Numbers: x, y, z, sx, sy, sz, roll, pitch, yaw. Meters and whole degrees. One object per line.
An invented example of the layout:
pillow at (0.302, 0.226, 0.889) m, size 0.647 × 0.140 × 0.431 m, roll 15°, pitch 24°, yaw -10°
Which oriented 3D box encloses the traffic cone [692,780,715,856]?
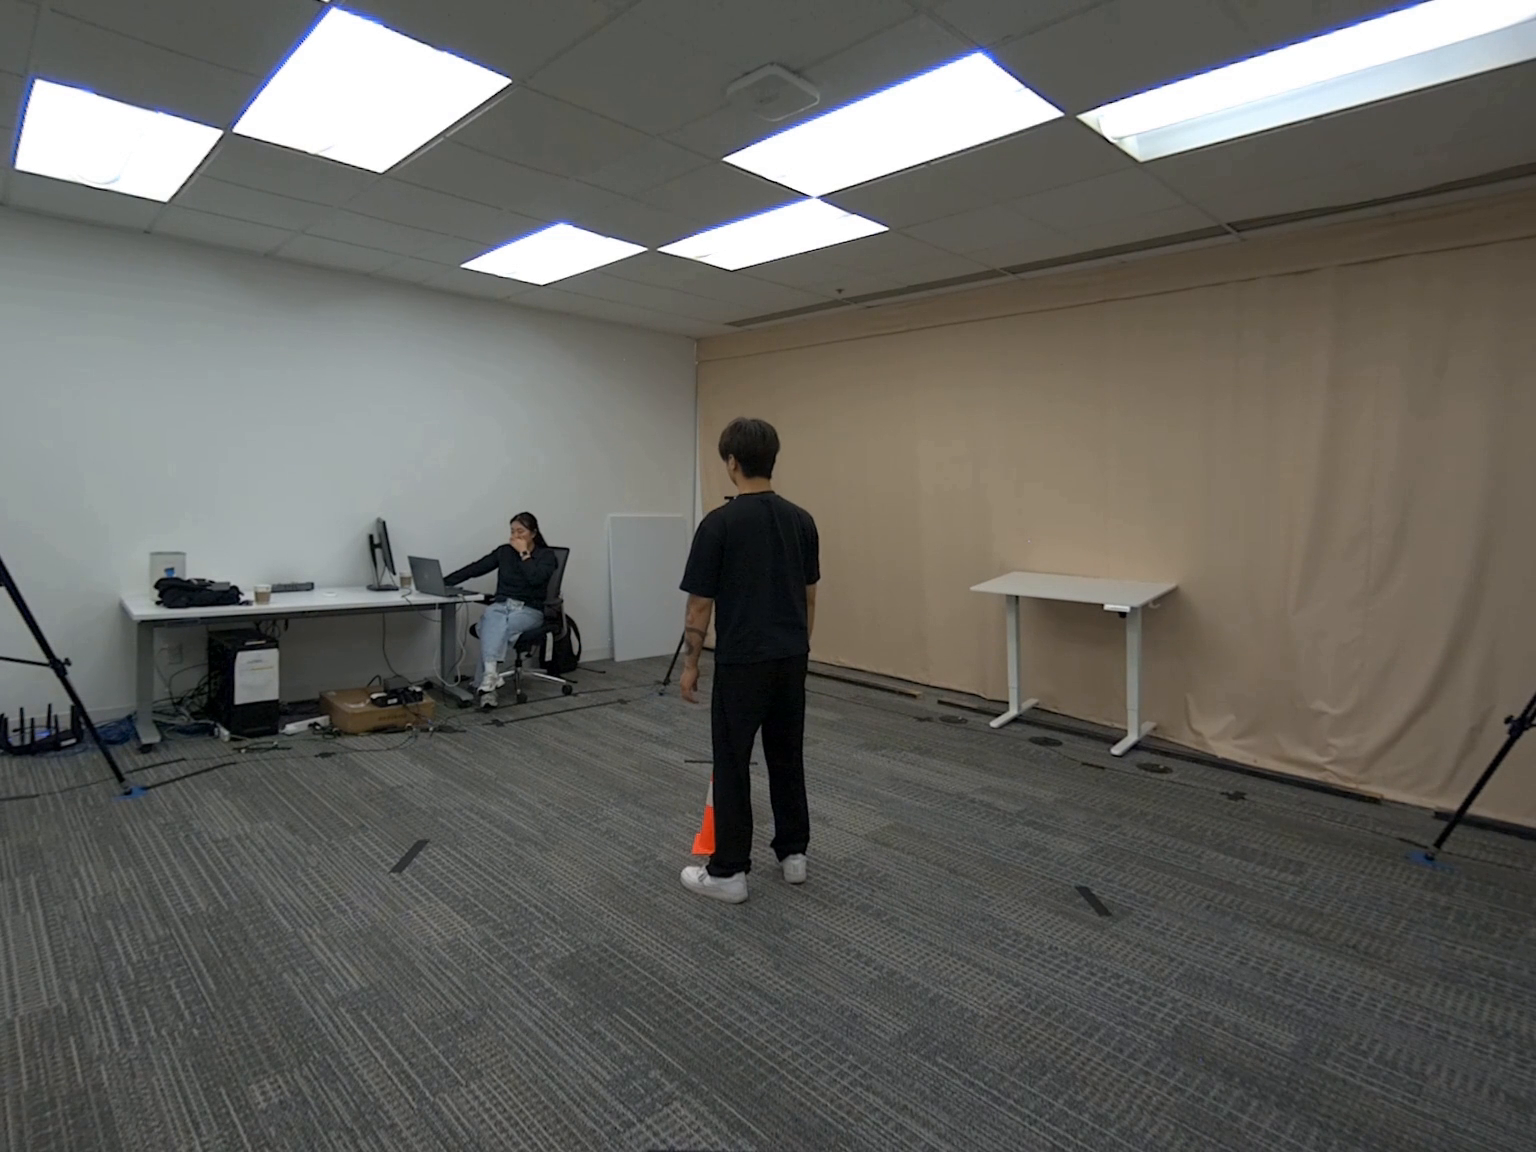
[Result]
traffic cone at (-0.211, 0.894, 3.376) m, size 0.205 × 0.383 × 0.203 m, roll -1°, pitch 1°, yaw 3°
